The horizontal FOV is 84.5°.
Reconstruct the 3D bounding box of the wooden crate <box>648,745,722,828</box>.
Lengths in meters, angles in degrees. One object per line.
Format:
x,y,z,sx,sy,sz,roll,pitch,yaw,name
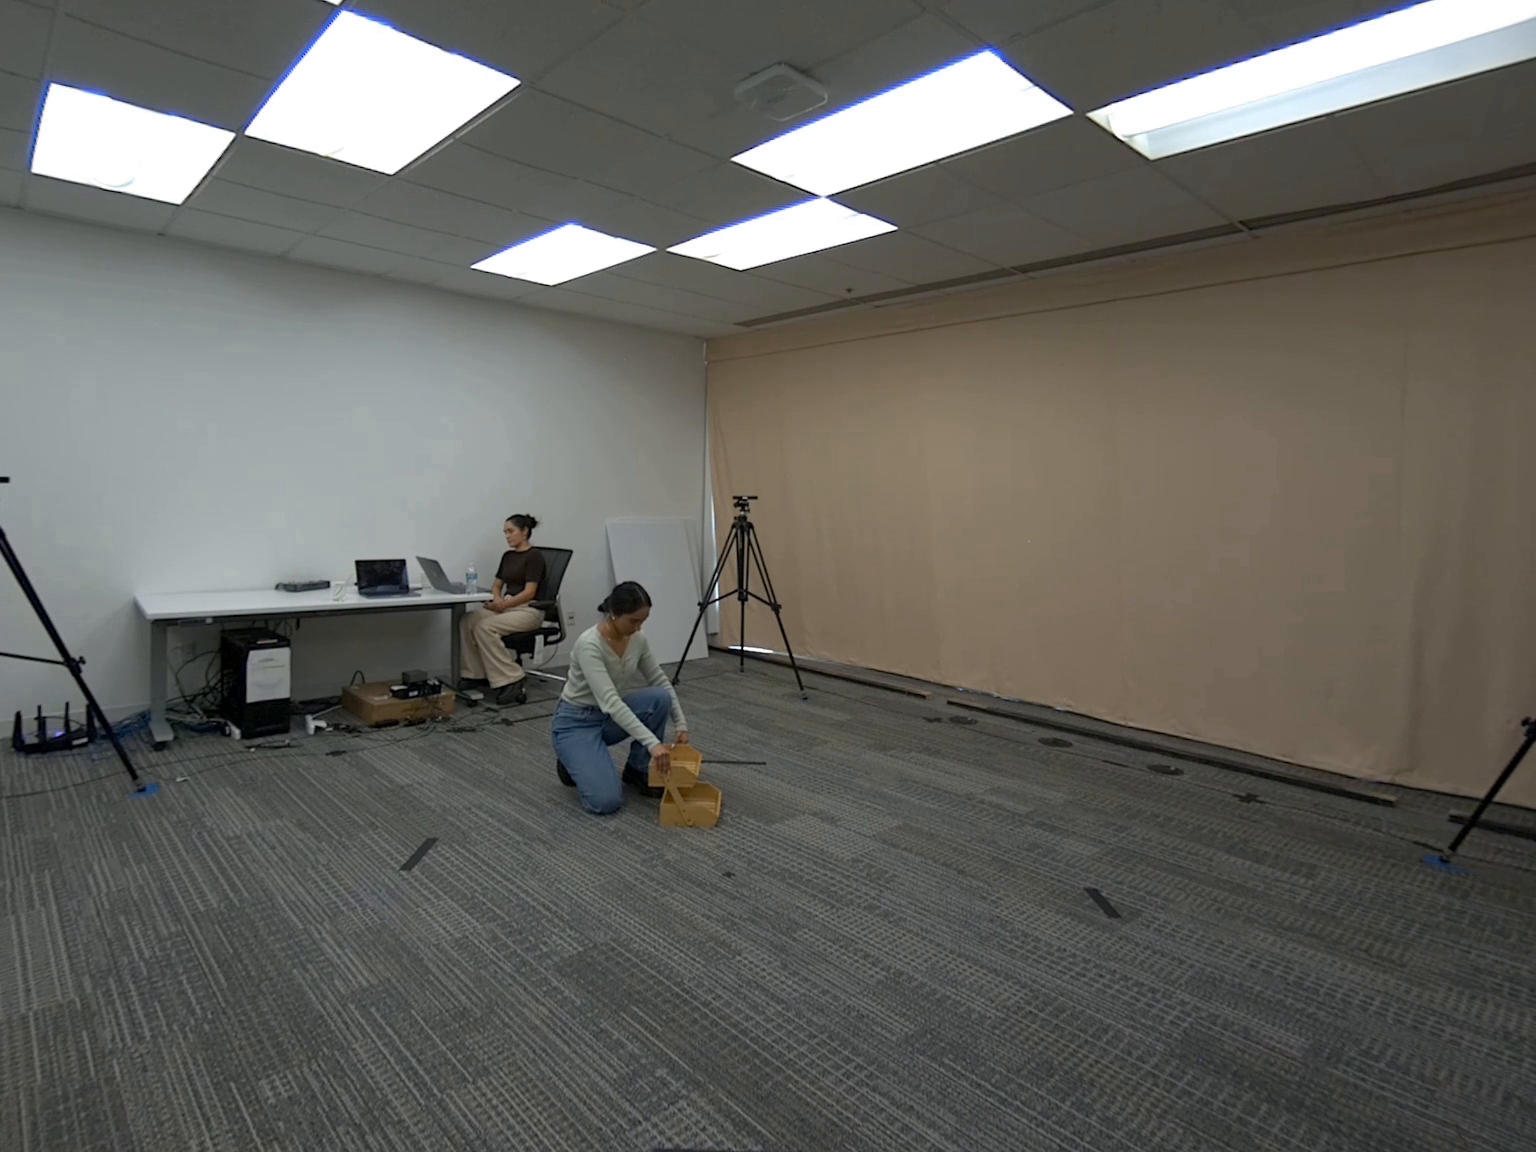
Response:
-0.363,0.914,3.708,0.302,0.272,0.325,2,4,-1,wooden crate
